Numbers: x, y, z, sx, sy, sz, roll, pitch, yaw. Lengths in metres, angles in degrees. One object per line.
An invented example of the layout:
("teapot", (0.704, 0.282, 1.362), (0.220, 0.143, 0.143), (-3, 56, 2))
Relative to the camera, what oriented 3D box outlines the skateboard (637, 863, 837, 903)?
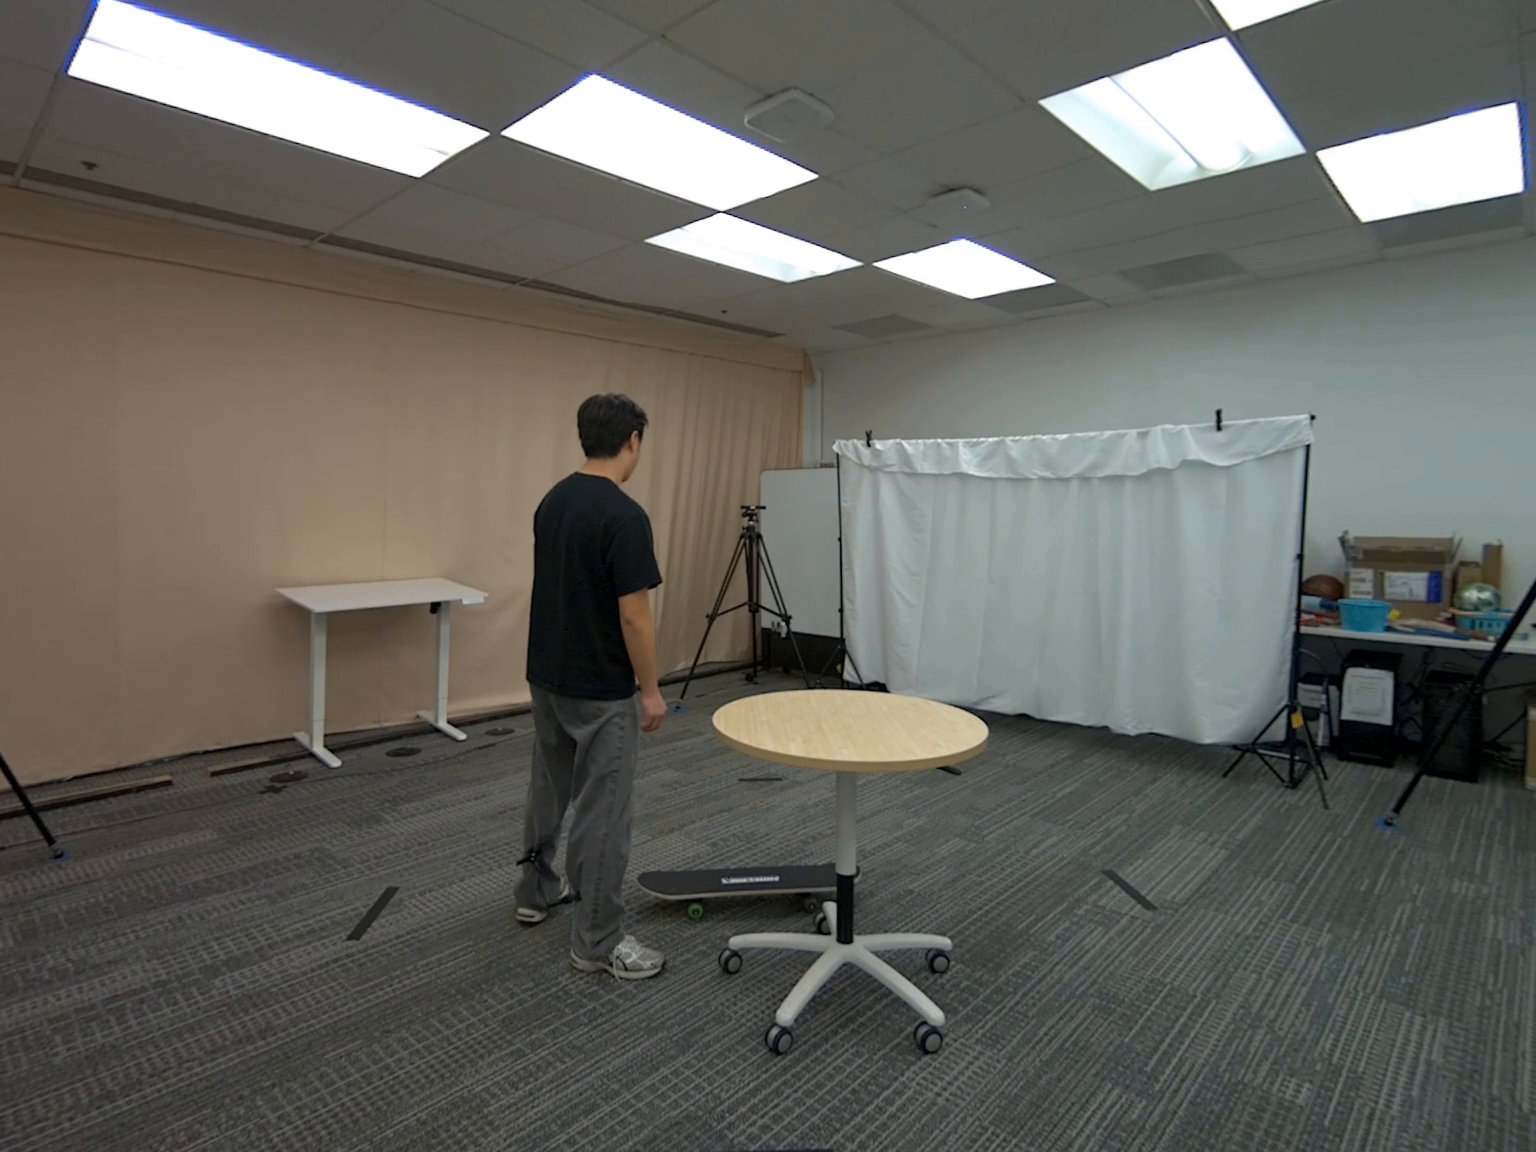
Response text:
("skateboard", (-0.059, 1.094, 2.933), (0.780, 0.110, 0.195), (0, 4, -7))
